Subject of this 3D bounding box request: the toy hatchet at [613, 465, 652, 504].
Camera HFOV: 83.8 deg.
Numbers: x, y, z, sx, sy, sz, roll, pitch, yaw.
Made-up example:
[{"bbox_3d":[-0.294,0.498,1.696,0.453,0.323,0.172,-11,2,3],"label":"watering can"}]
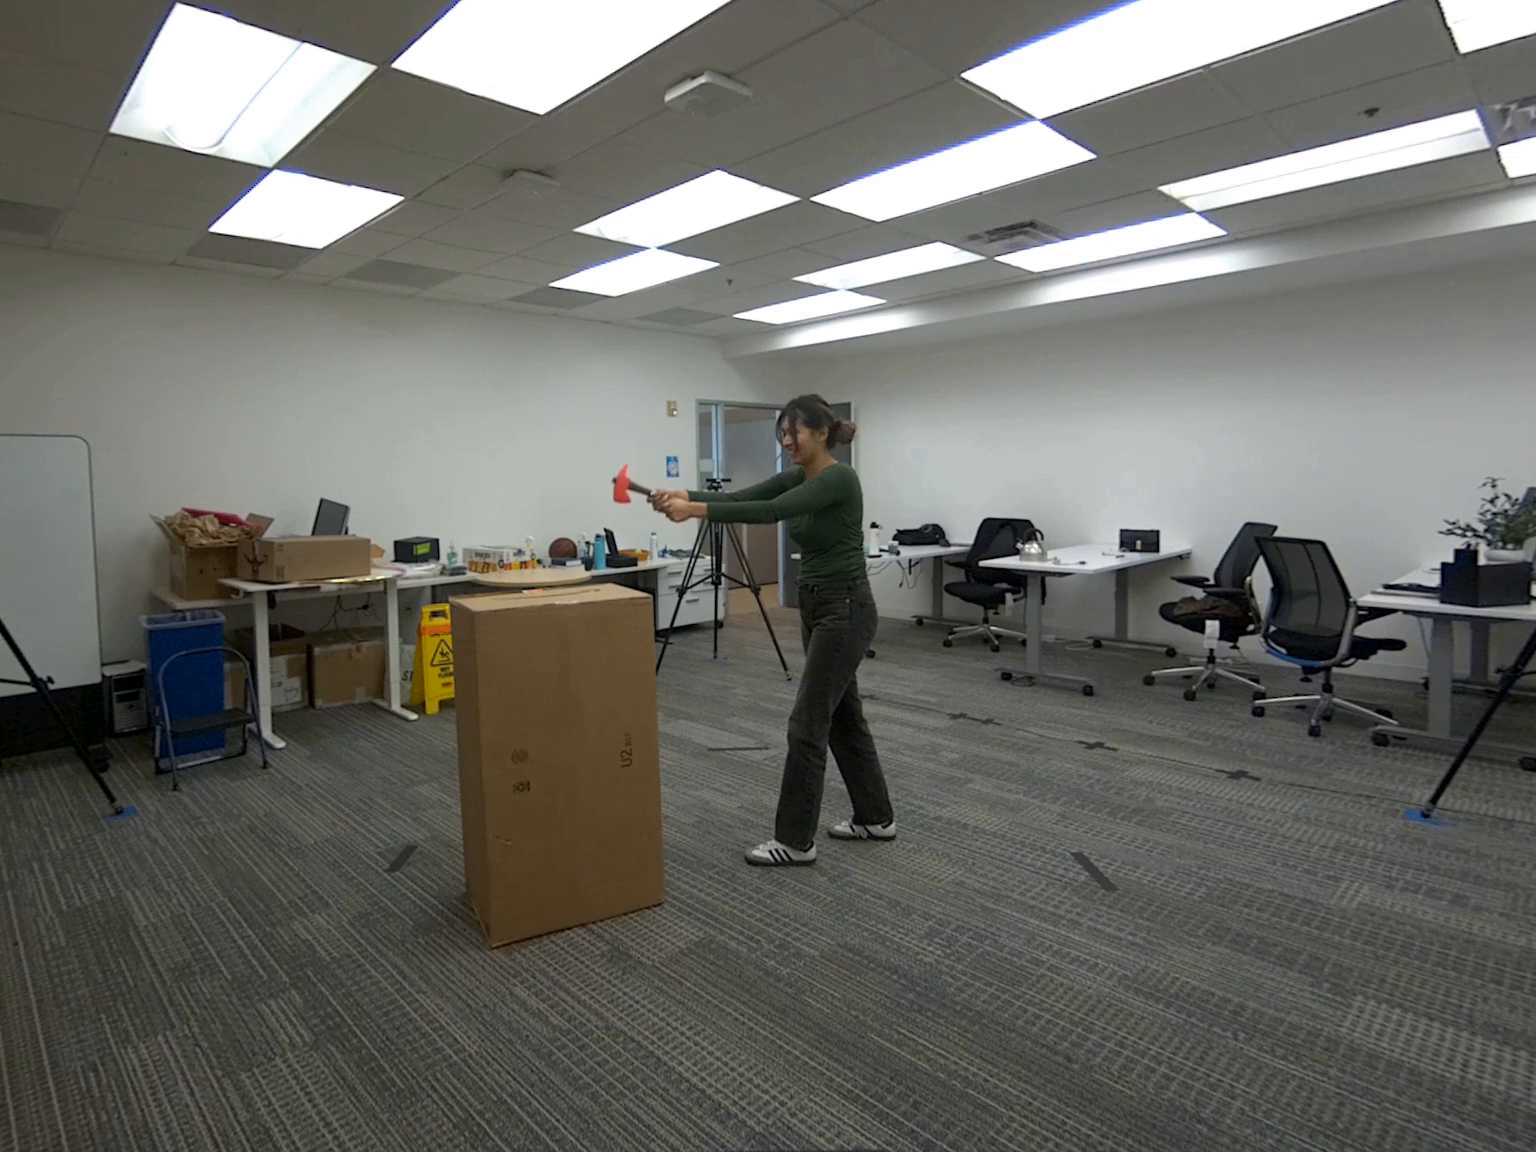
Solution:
[{"bbox_3d":[-0.407,-0.261,2.879,0.264,0.132,0.030,38,-23,-16],"label":"toy hatchet"}]
